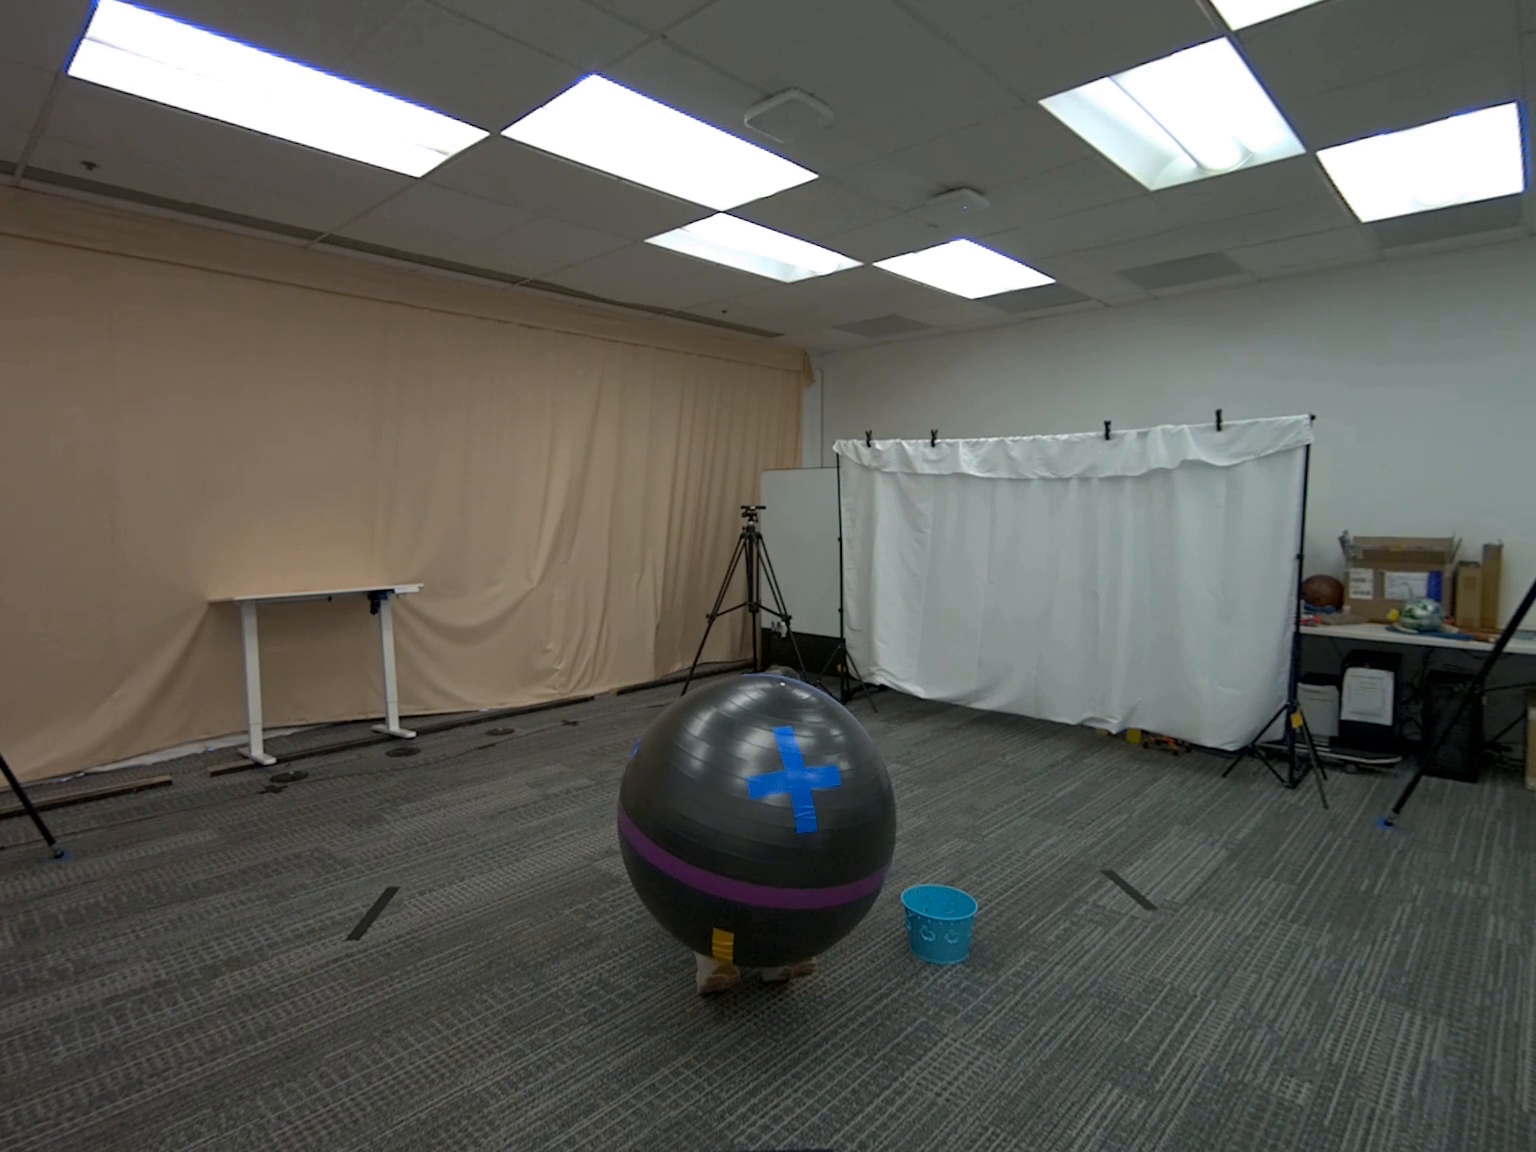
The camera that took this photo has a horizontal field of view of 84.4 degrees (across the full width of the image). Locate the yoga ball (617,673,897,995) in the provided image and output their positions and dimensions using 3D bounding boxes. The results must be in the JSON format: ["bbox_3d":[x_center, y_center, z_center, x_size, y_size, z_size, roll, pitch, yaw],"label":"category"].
[{"bbox_3d":[-0.026,0.658,2.296,0.757,0.756,0.761,0,4,-2],"label":"yoga ball"}]
